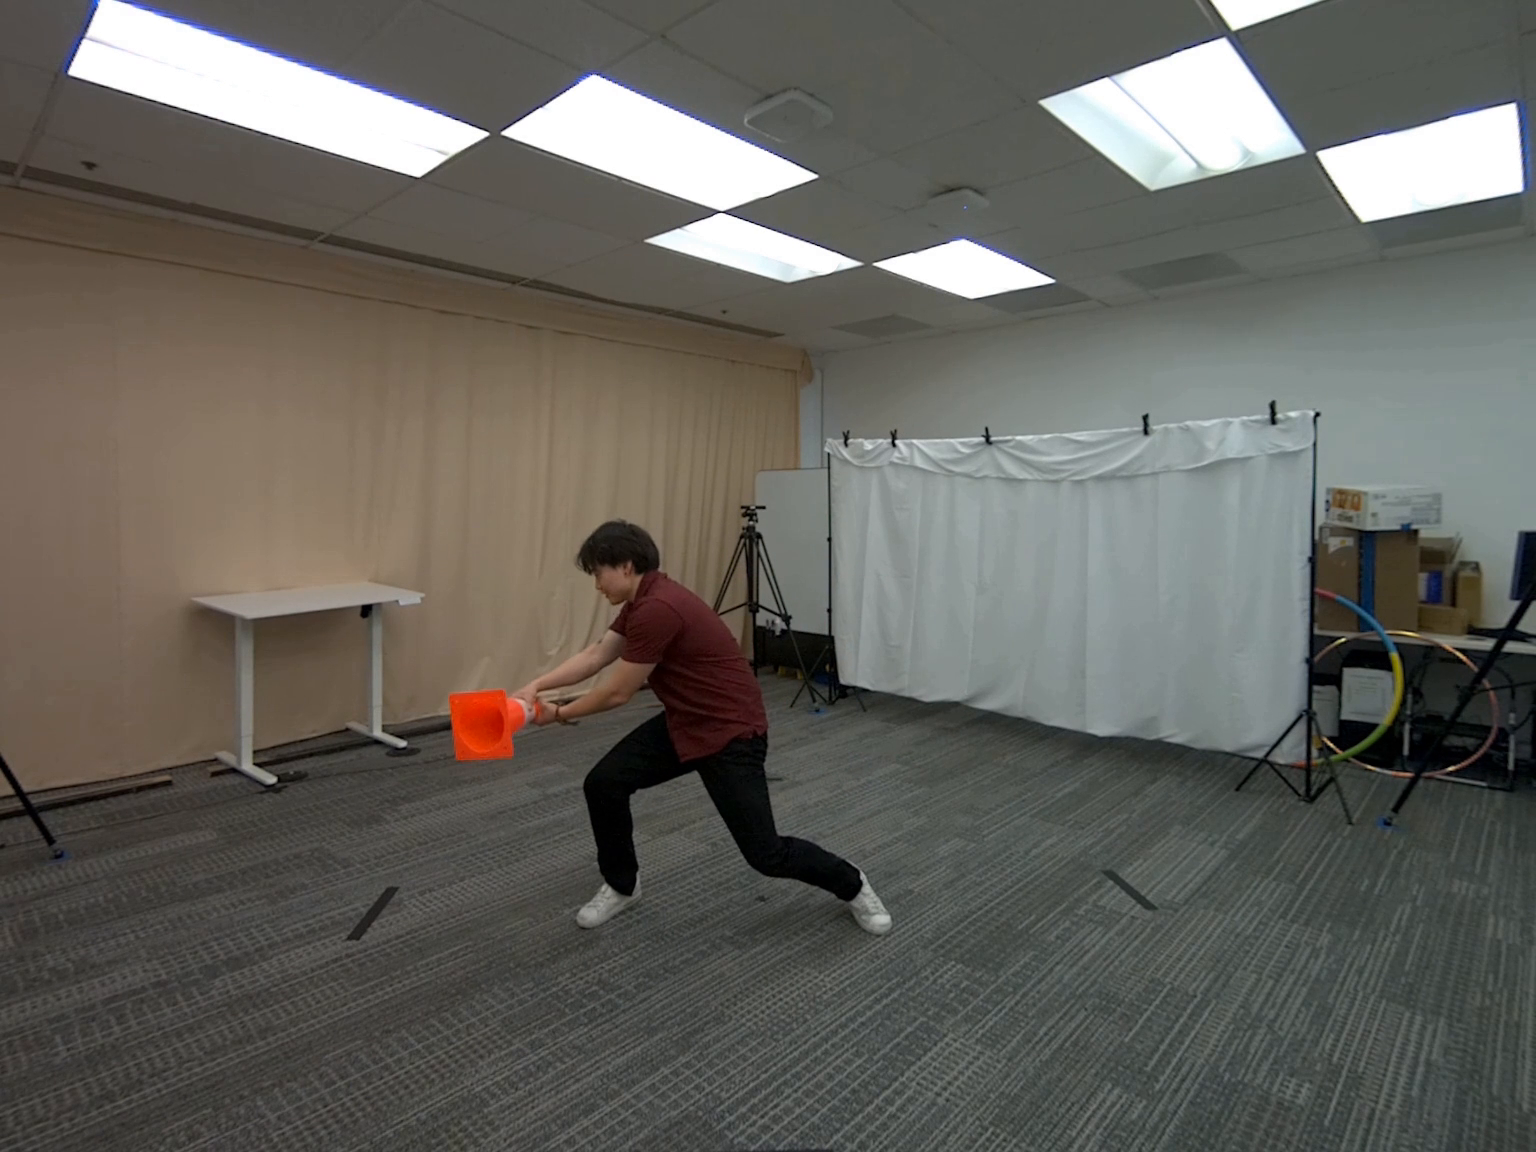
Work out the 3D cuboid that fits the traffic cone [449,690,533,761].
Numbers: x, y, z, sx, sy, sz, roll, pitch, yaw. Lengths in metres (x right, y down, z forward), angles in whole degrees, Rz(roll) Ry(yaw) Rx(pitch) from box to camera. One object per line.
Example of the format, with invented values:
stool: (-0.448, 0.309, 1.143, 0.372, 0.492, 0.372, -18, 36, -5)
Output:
traffic cone: (-0.787, 0.442, 2.653, 0.209, 0.204, 0.375, -7, -4, 18)
